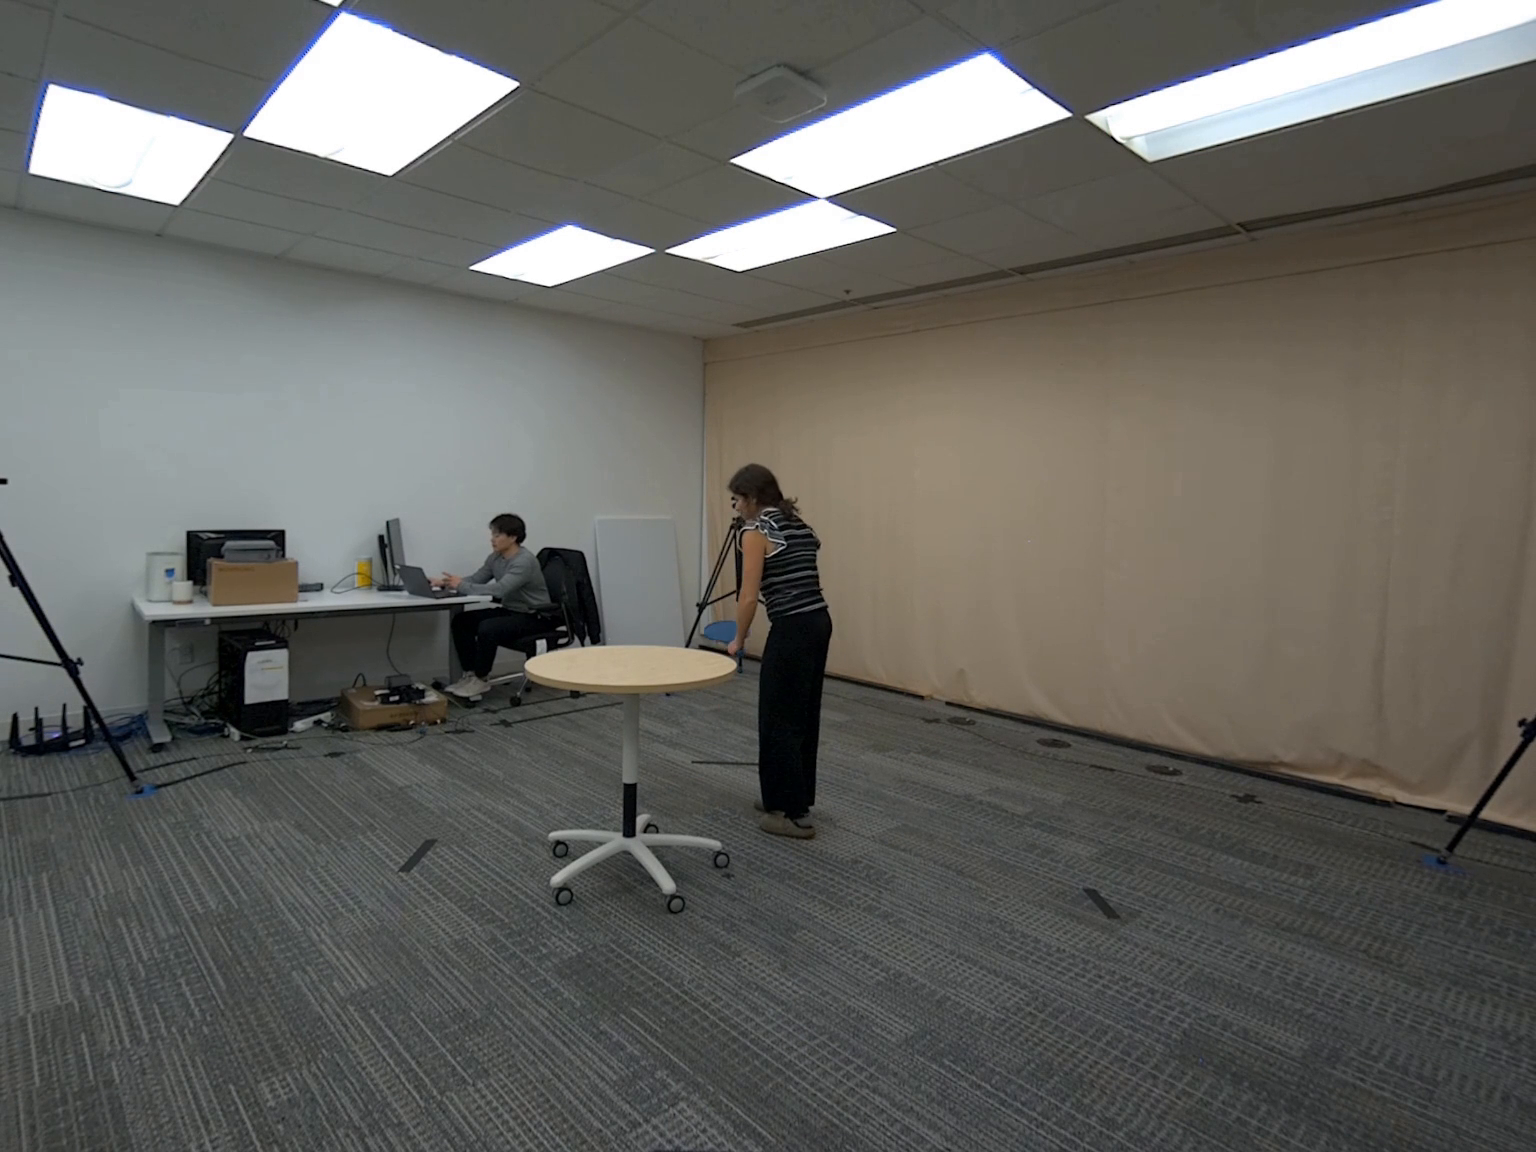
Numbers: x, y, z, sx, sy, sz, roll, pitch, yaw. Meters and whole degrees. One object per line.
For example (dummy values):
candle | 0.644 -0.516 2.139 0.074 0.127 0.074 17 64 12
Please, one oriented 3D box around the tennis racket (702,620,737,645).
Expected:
tennis racket | -0.170 0.296 3.800 0.211 0.031 0.443 -9 18 -17
